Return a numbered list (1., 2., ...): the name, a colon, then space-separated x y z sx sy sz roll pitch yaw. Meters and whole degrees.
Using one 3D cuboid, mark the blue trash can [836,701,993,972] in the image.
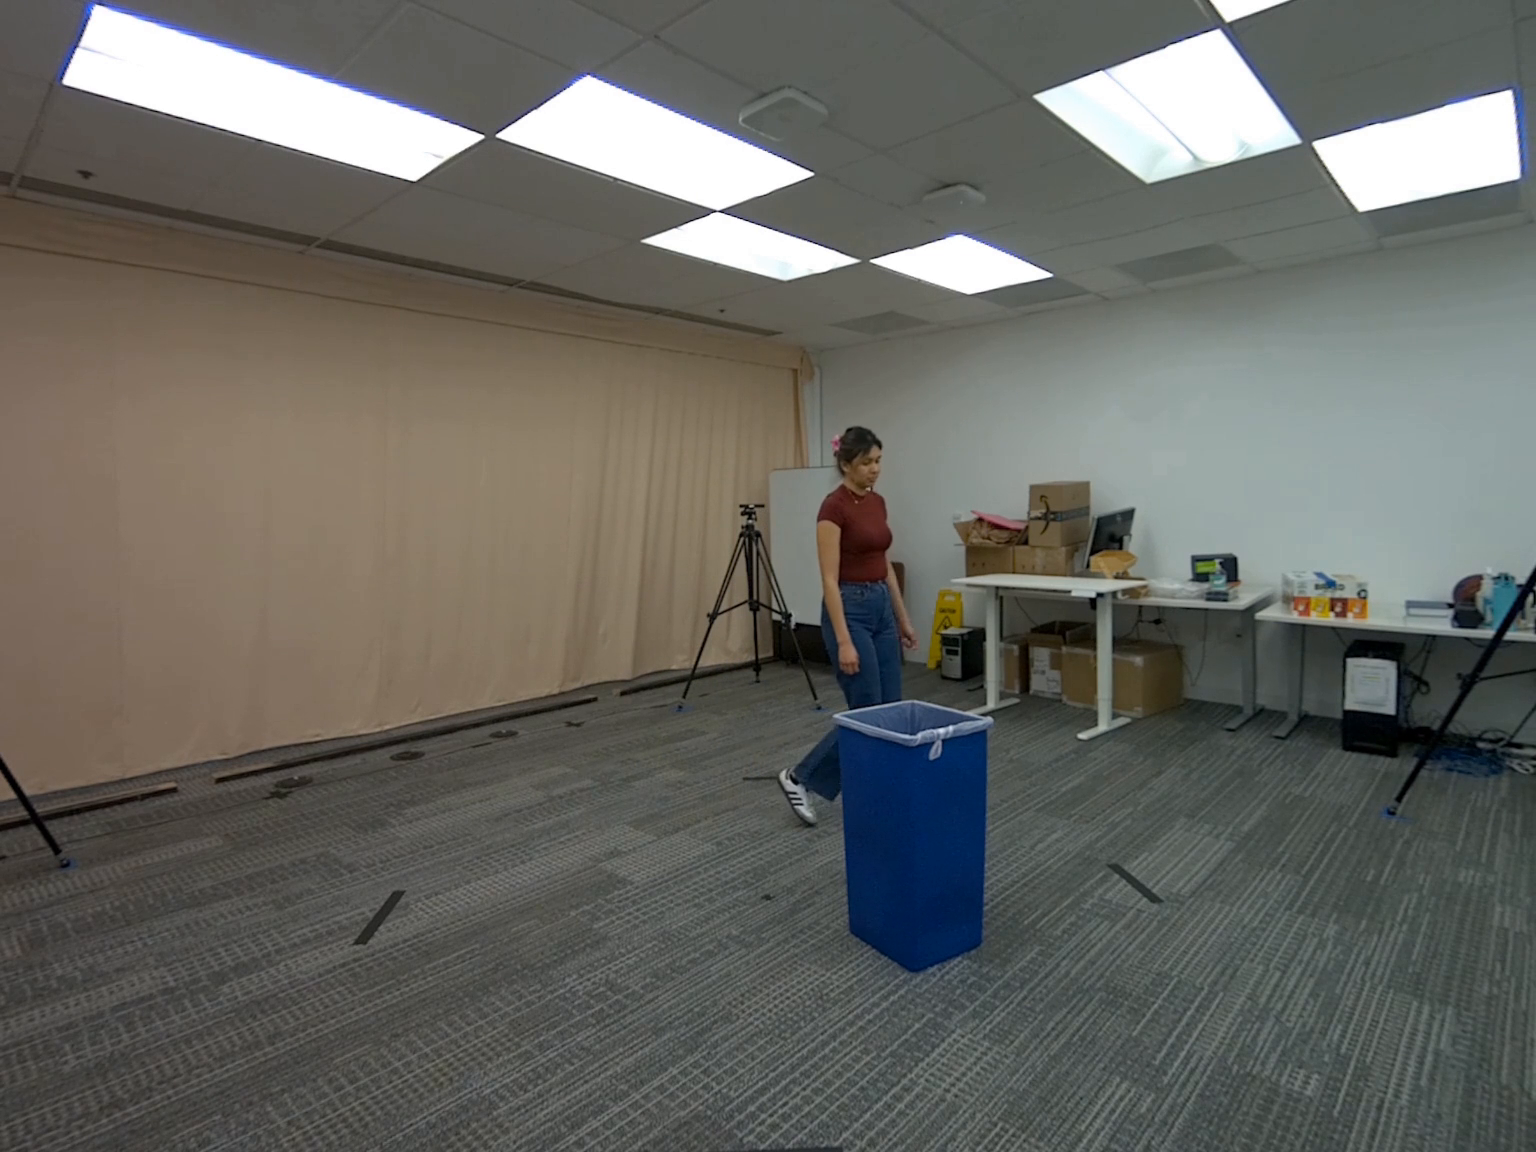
1. blue trash can: 0.456 0.799 2.673 0.367 0.712 0.386 -3 4 -35
